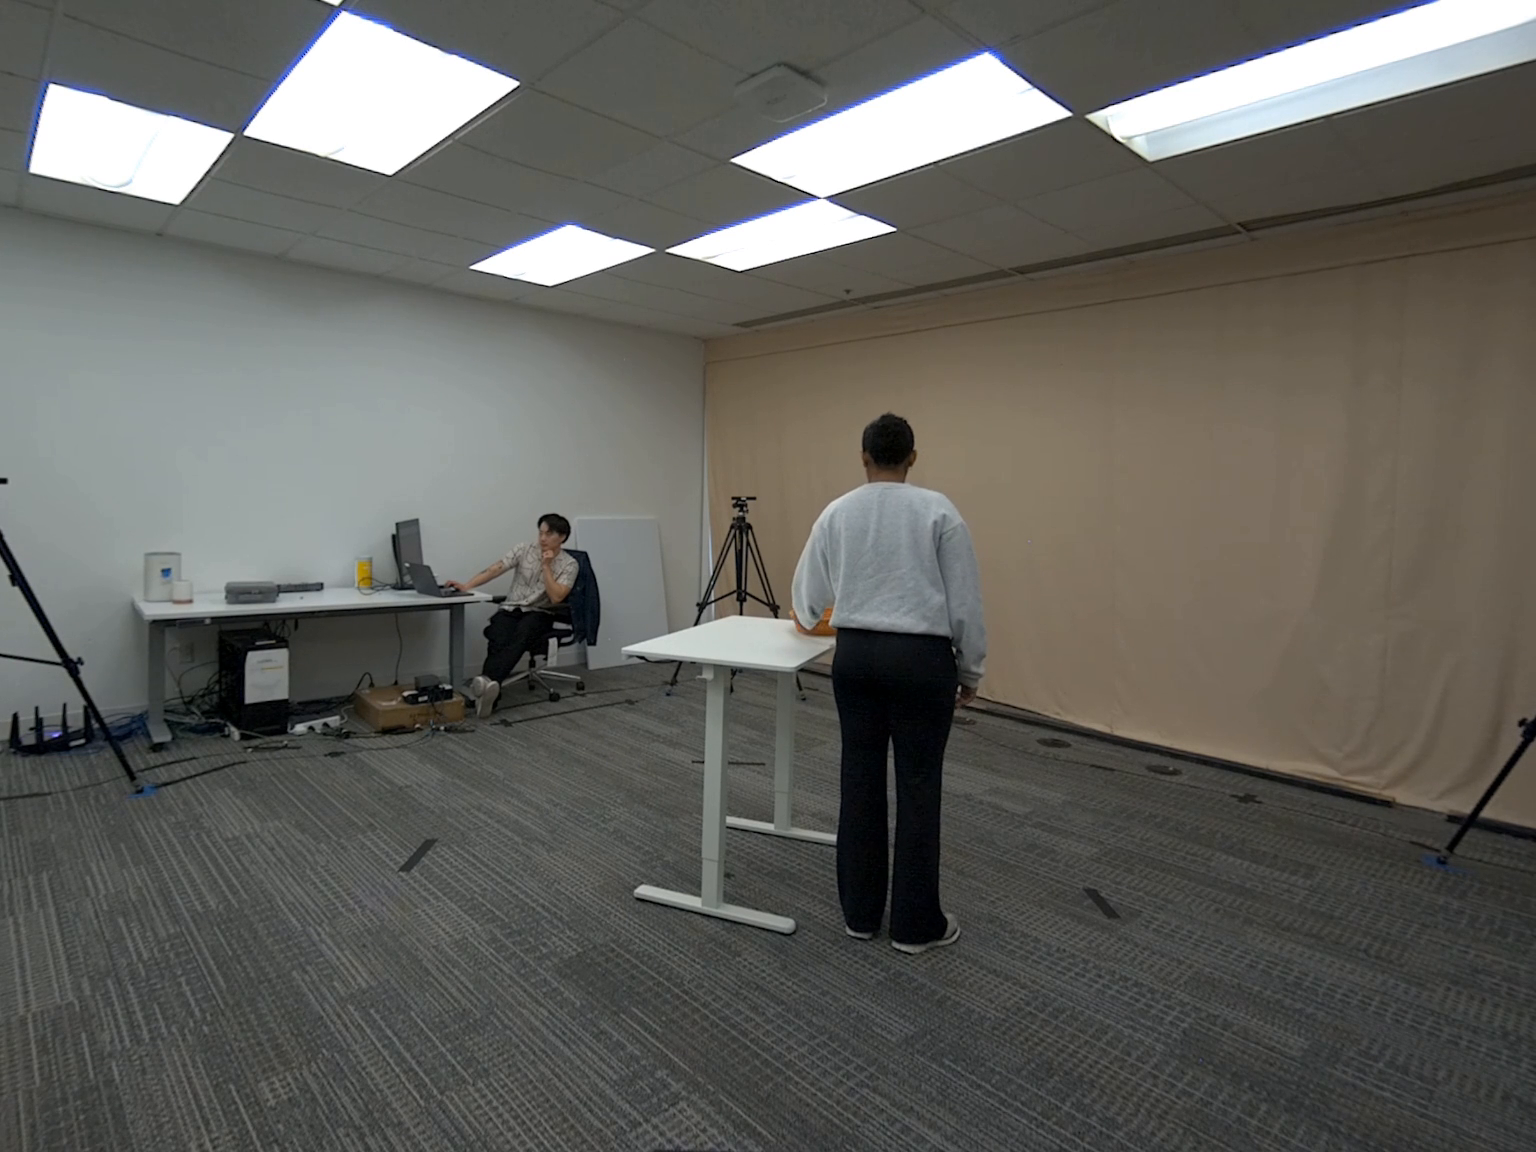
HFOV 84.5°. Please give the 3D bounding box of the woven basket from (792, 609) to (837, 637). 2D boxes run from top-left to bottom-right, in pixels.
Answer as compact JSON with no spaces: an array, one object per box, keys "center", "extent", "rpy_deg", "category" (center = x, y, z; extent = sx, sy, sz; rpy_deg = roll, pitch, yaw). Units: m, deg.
[{"center":[0.232,0.178,3.297],"extent":[0.256,0.073,0.347],"rpy_deg":[5,6,15],"category":"woven basket"}]
